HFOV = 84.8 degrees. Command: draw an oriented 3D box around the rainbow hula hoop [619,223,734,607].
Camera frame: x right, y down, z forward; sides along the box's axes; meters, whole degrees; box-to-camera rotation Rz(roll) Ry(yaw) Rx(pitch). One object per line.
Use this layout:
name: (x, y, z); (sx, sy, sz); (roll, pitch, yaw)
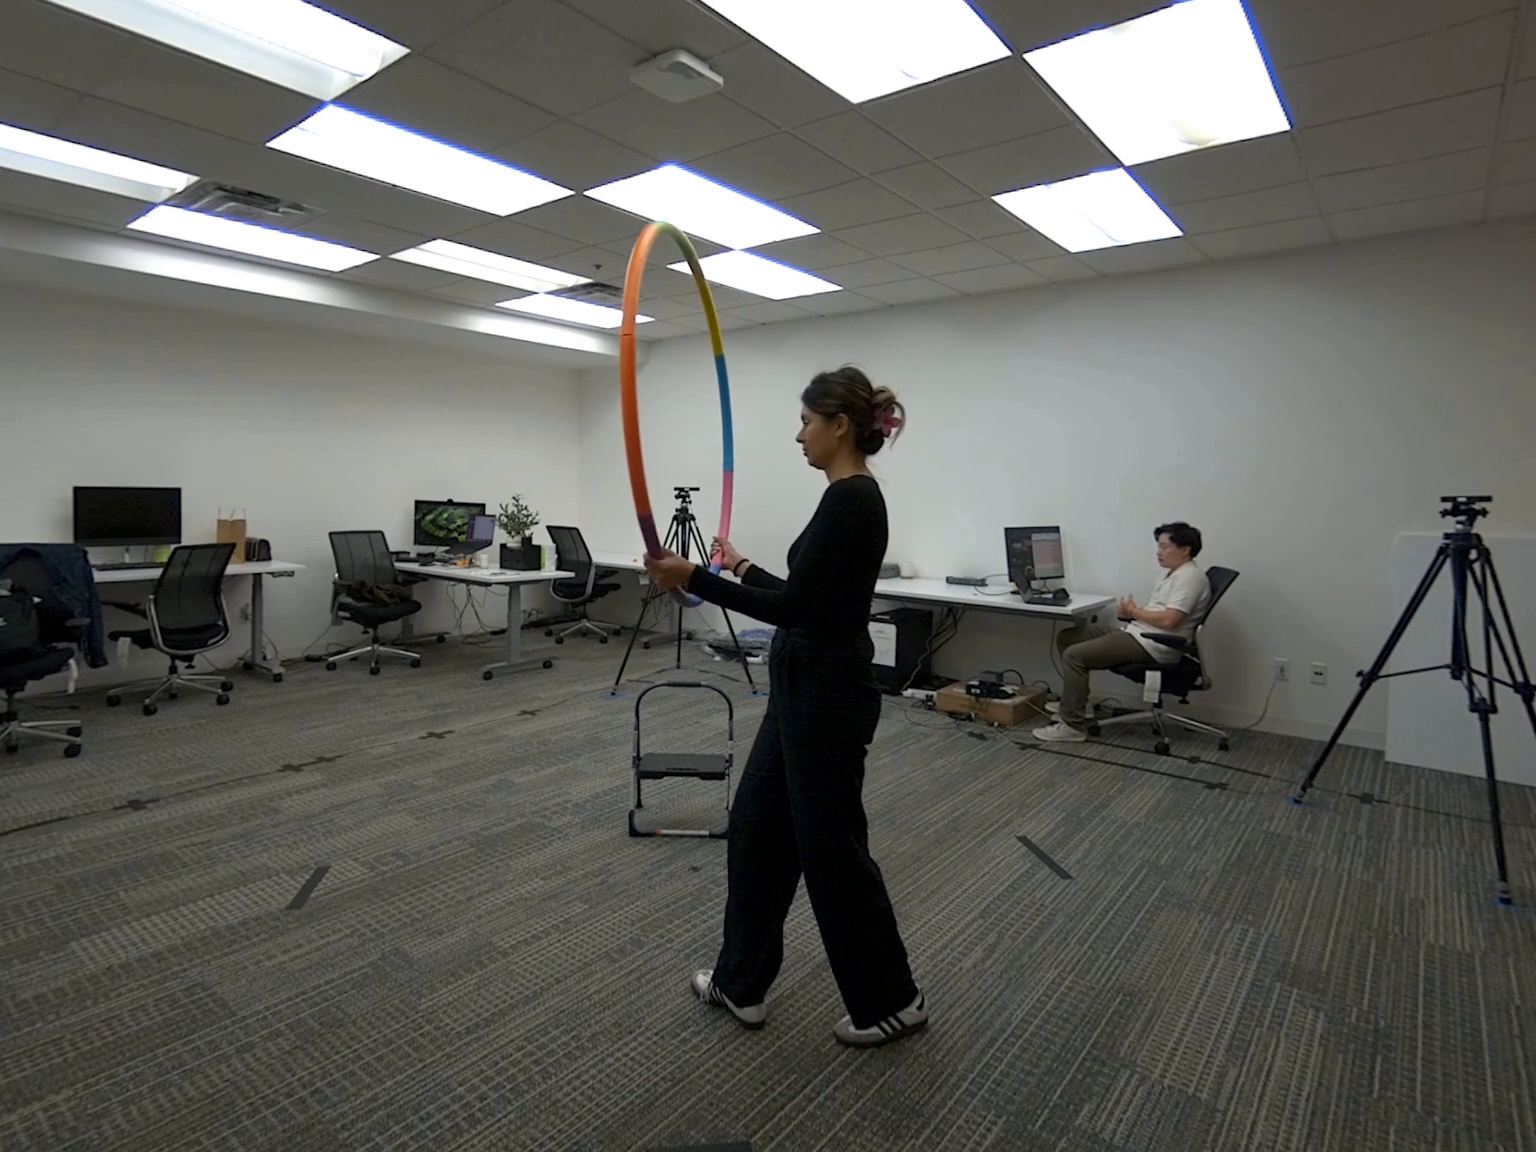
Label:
rainbow hula hoop: (-0.210, -0.409, 2.219); (0.036, 0.976, 0.969); (-3, 3, 10)
